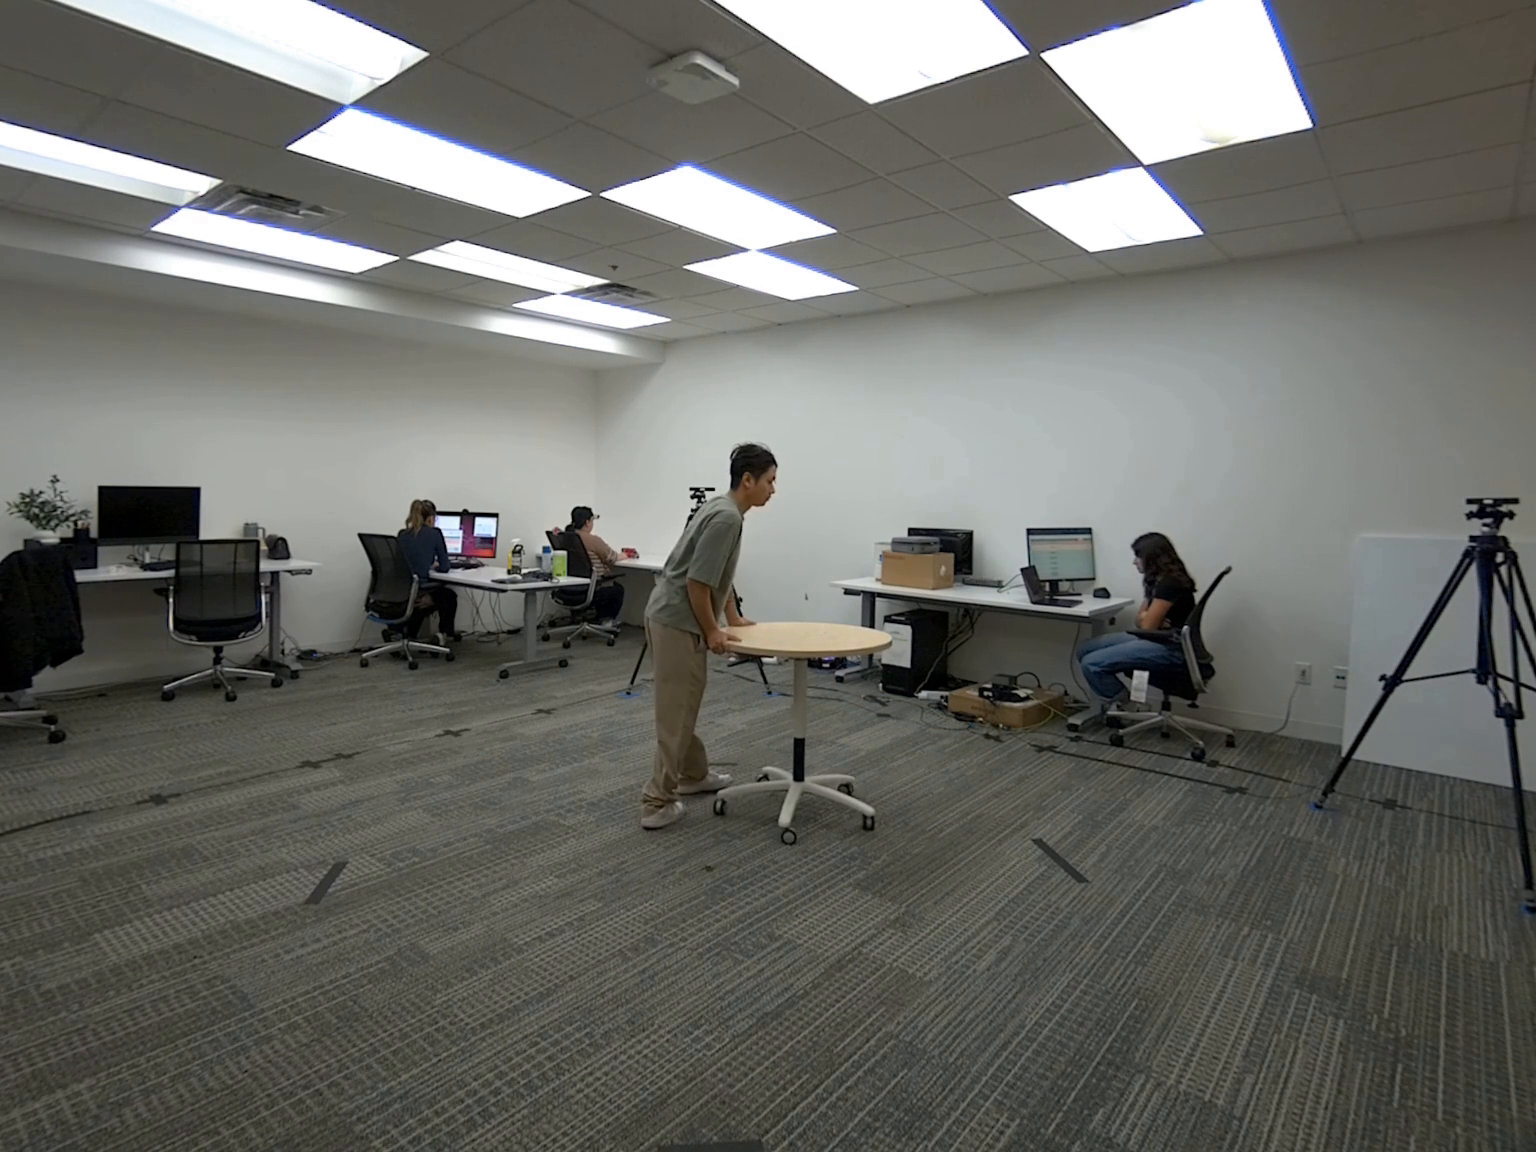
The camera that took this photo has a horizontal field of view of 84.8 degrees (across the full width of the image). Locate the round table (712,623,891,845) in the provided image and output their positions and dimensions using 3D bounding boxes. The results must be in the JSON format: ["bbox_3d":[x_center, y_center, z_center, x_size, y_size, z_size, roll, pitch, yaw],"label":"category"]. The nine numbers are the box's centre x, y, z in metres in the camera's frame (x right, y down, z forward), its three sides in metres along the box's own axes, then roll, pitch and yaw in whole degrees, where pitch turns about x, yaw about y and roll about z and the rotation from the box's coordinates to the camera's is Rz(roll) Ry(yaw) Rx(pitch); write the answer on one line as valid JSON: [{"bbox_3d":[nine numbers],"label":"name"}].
[{"bbox_3d":[0.142,0.635,3.639,0.784,0.784,0.789,0,4,-2],"label":"round table"}]
